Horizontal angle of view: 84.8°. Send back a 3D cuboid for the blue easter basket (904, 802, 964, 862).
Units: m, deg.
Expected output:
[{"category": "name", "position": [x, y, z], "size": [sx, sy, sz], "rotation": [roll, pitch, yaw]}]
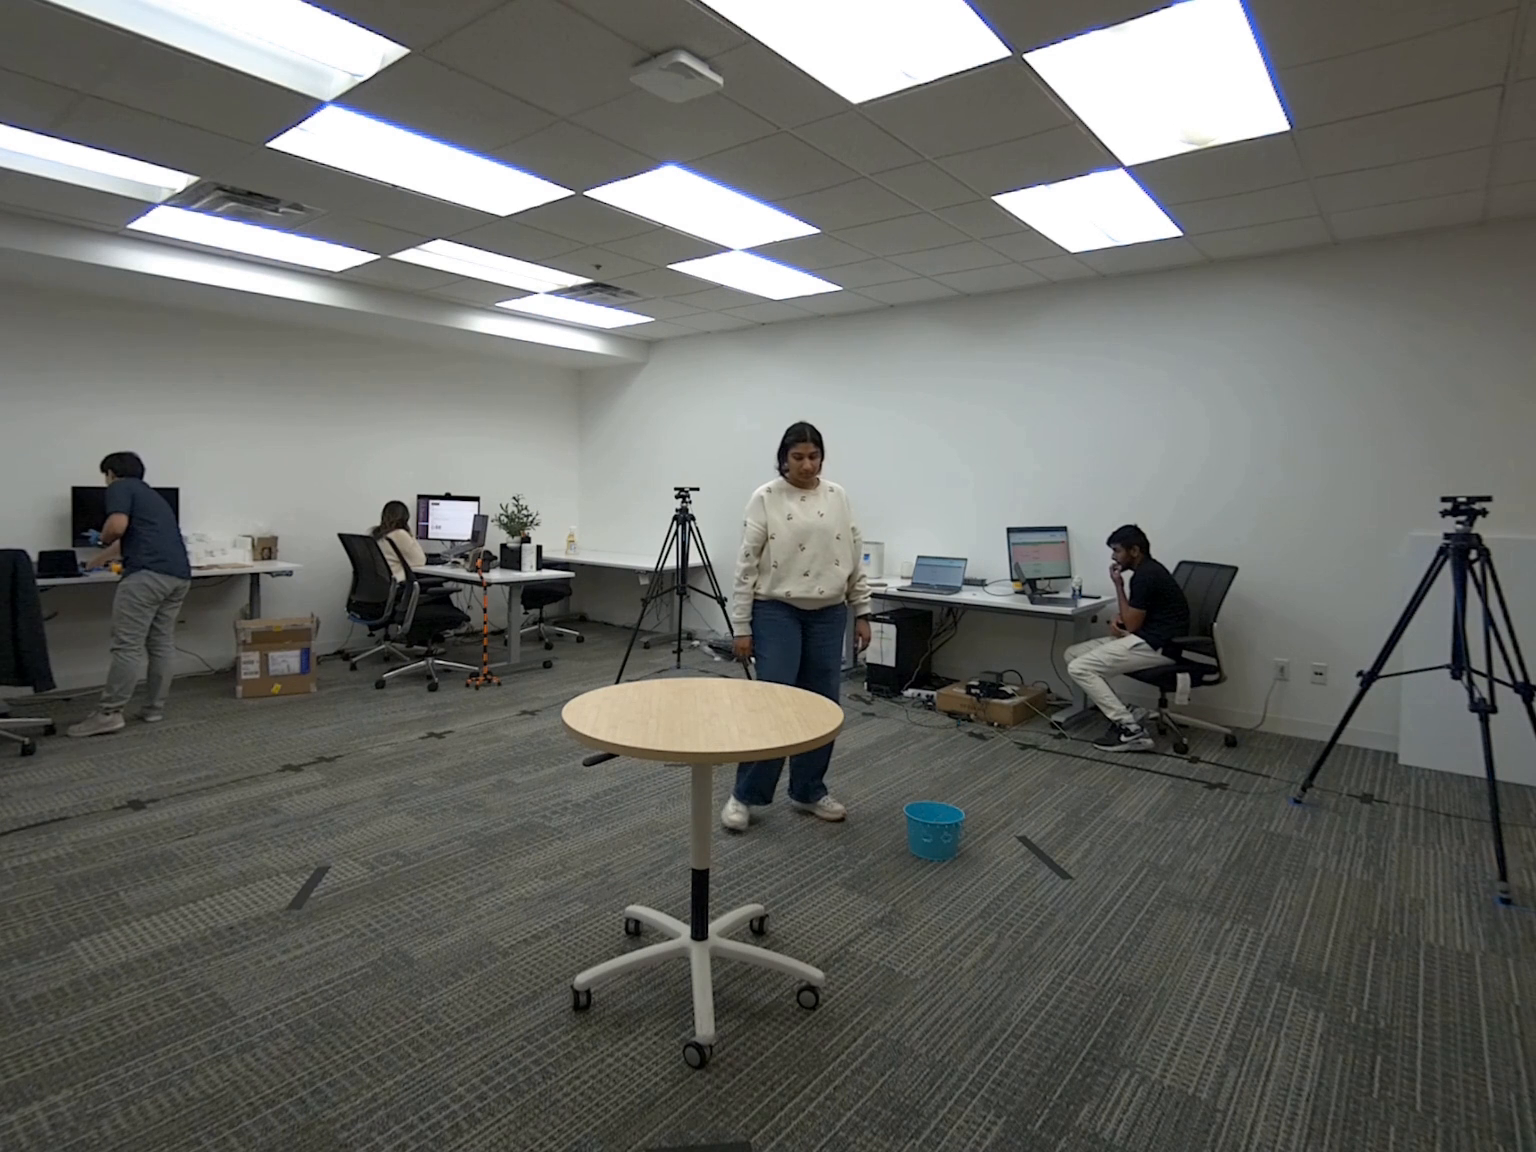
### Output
[{"category": "blue easter basket", "position": [0.643, 0.987, 3.311], "size": [0.243, 0.155, 0.245], "rotation": [1, 5, -2]}]
